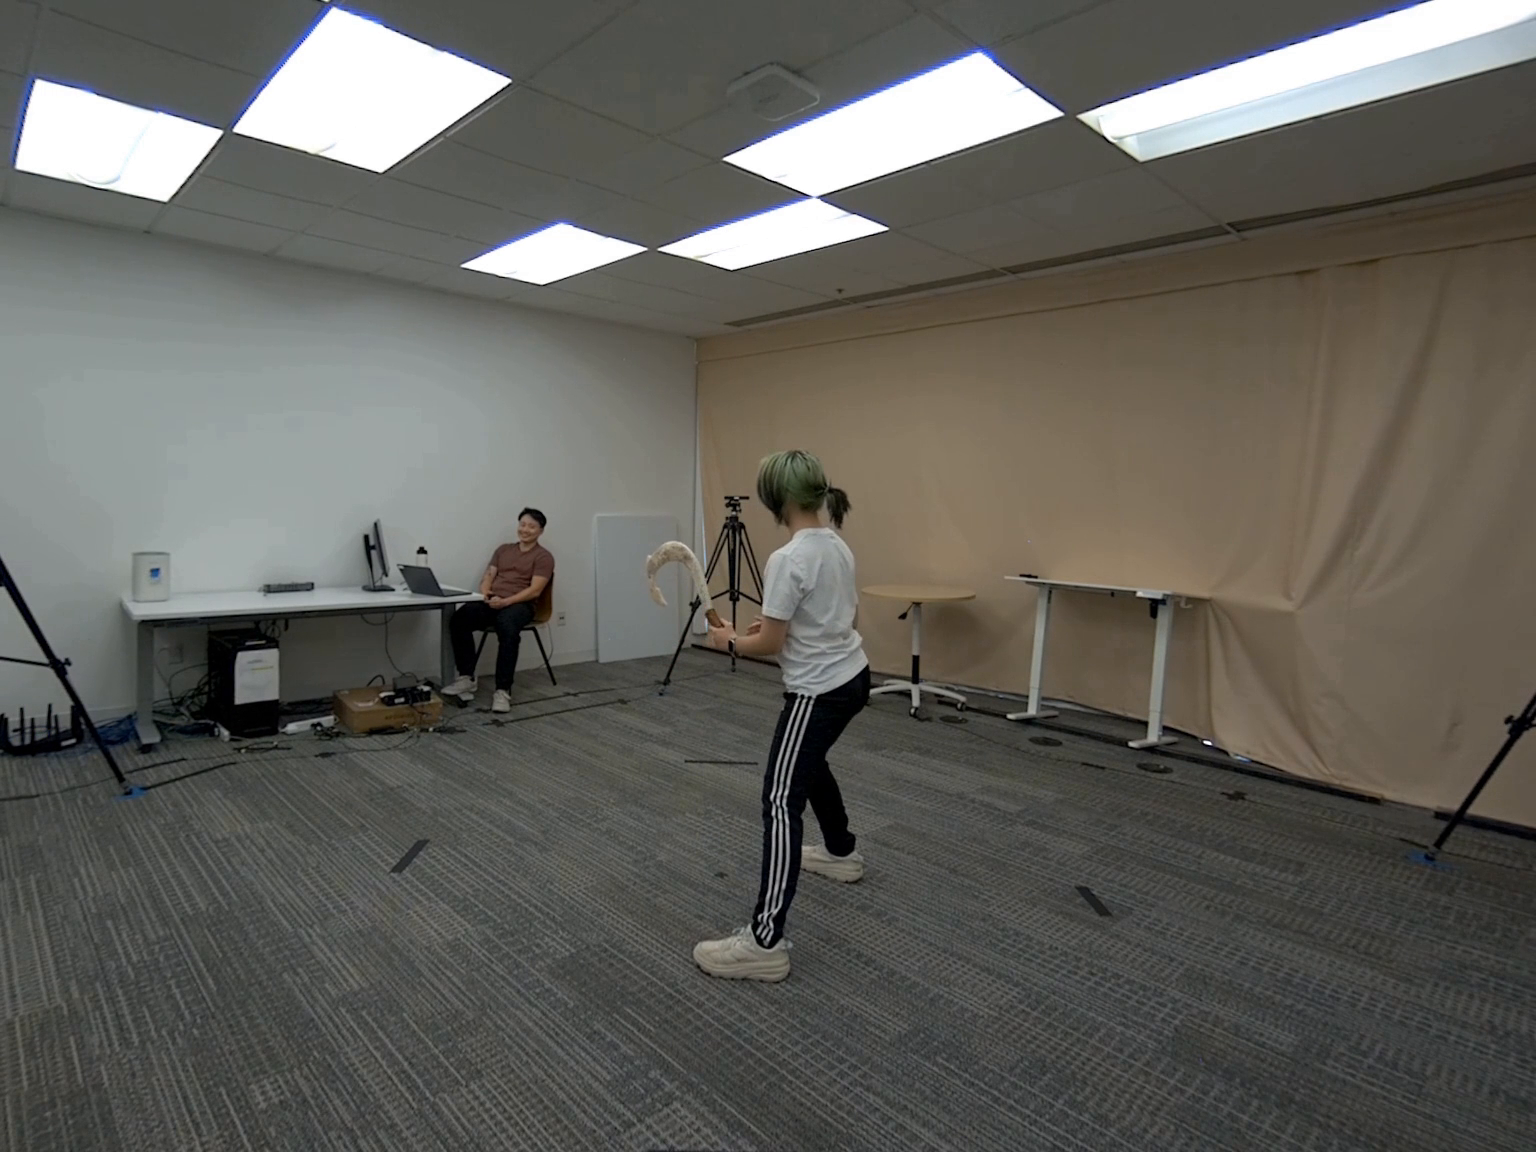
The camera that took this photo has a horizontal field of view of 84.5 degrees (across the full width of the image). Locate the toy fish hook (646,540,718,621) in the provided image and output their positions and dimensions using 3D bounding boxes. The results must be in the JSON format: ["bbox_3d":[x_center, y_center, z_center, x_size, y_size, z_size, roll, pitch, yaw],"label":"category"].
[{"bbox_3d":[-0.279,0.111,3.037,0.225,0.516,0.047,-41,-18,20],"label":"toy fish hook"}]
